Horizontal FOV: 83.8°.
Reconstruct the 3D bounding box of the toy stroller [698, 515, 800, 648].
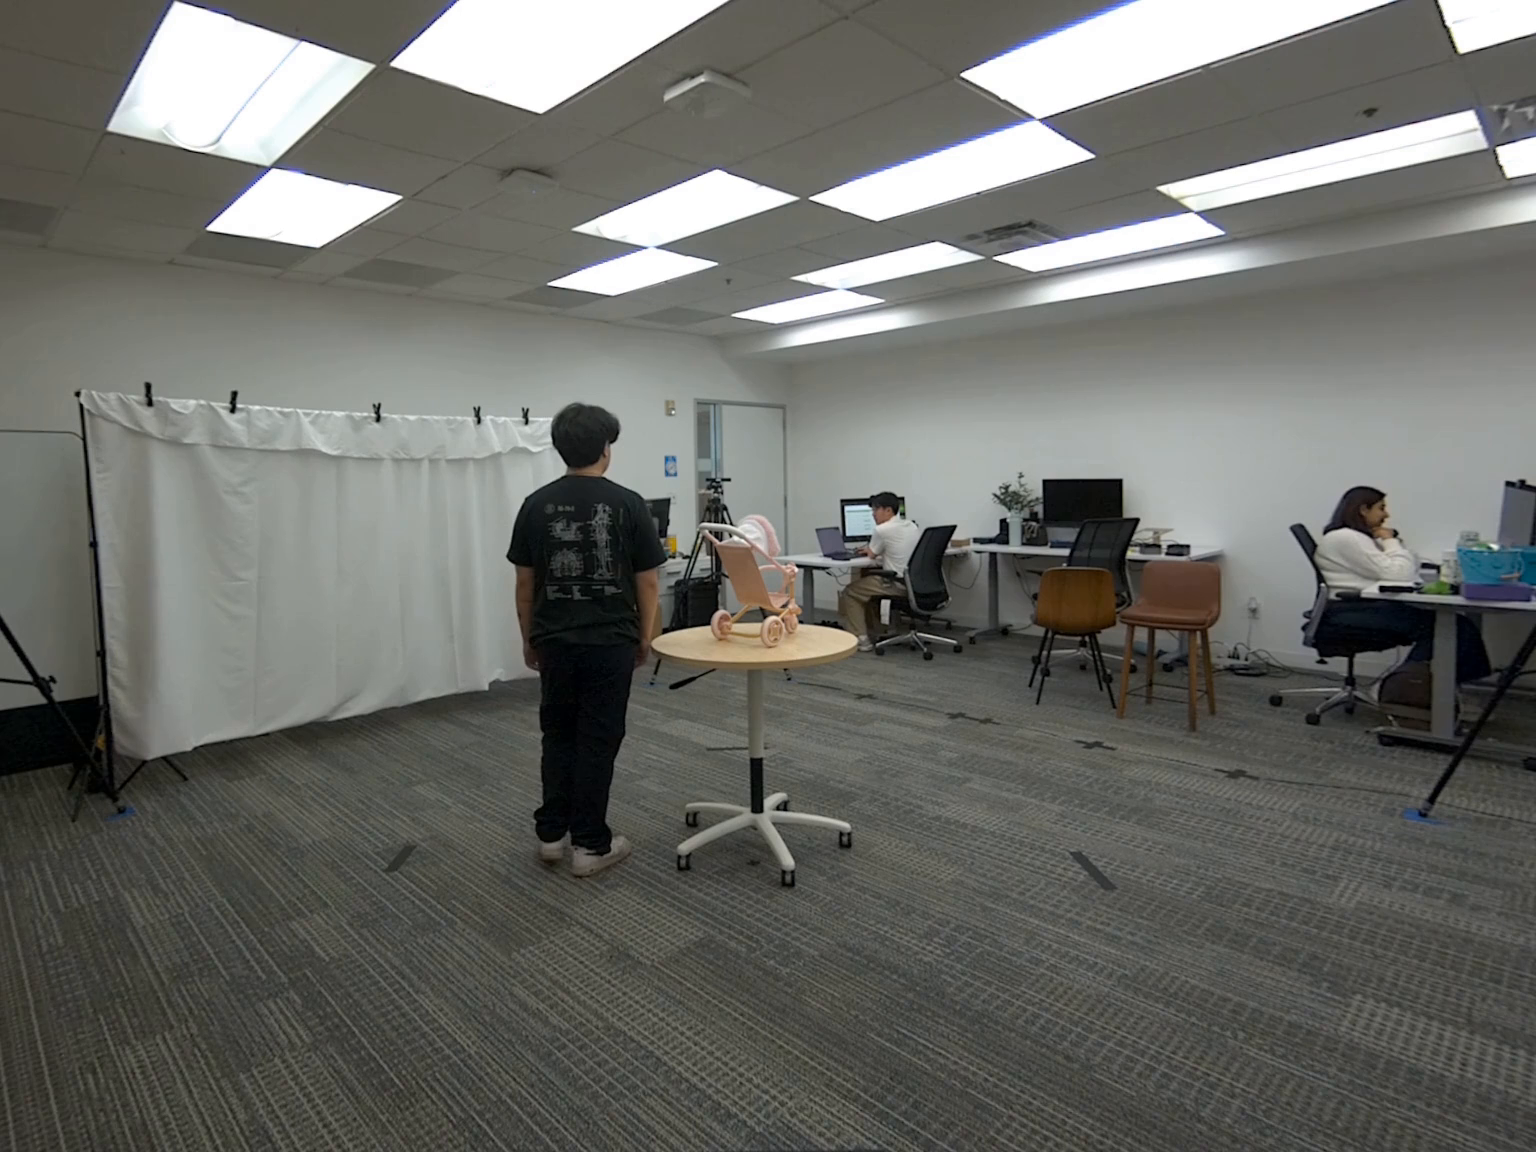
[{"bbox_3d":[-0.036,0.015,3.166,0.290,0.527,0.336,3,20,46],"label":"toy stroller"}]
